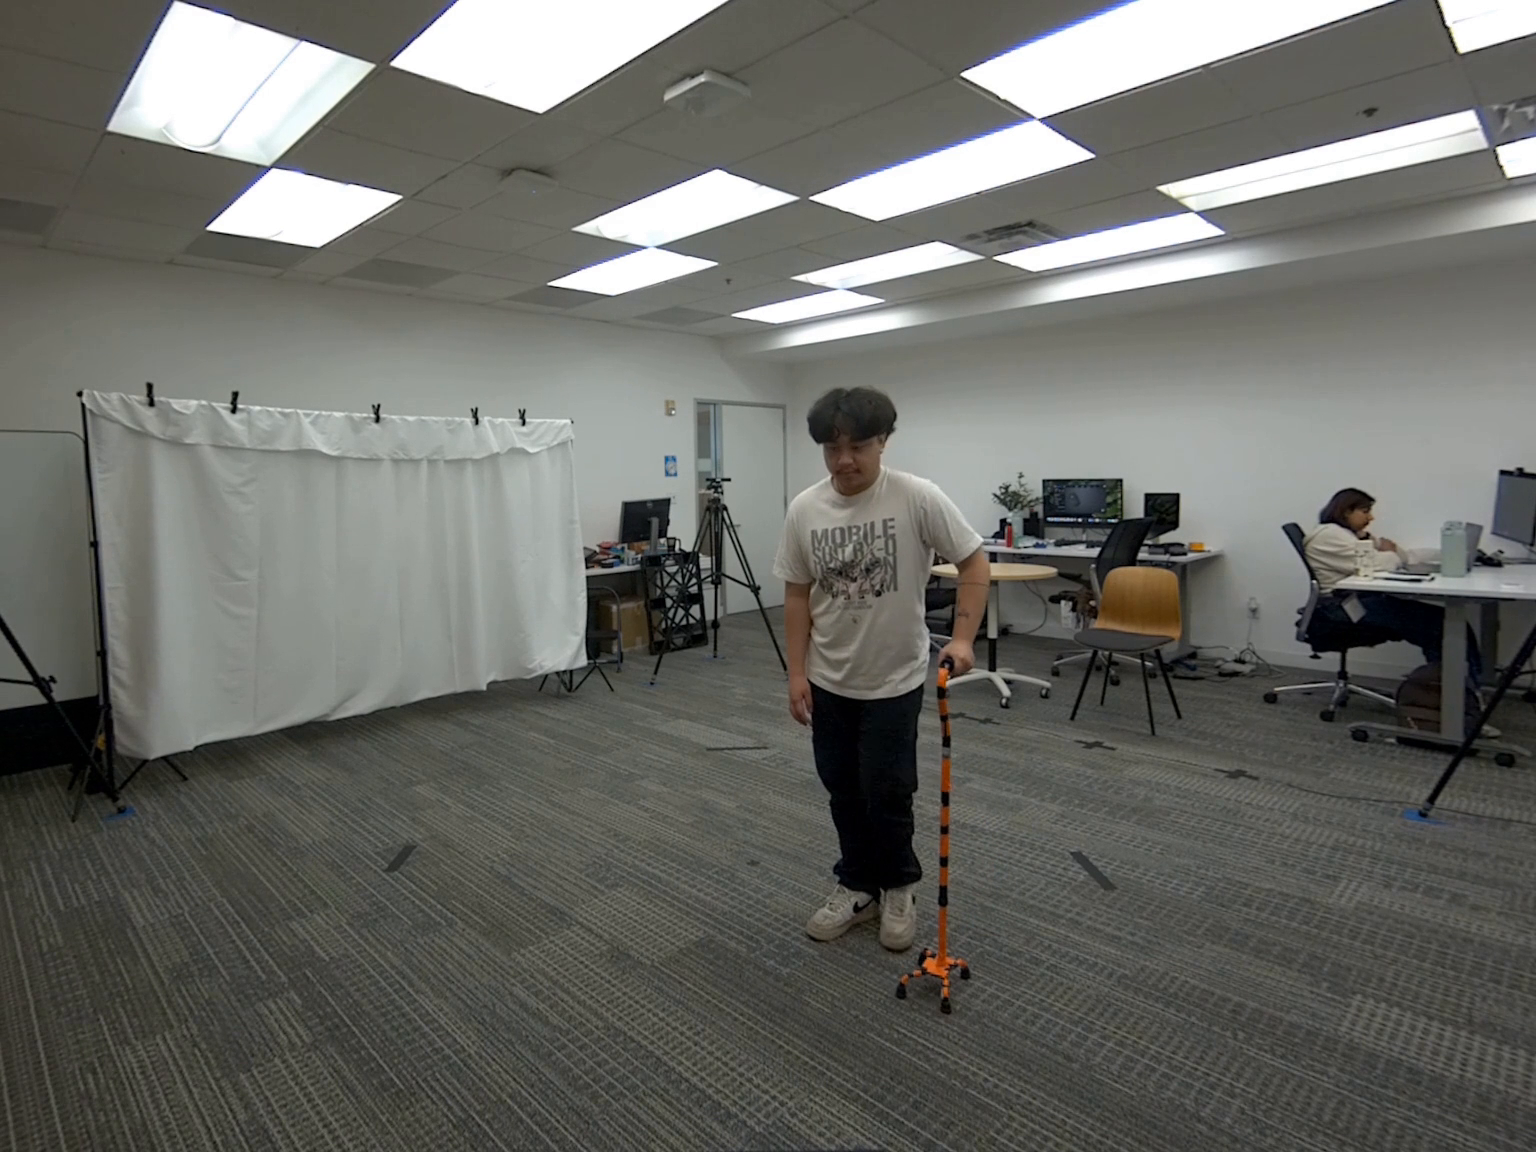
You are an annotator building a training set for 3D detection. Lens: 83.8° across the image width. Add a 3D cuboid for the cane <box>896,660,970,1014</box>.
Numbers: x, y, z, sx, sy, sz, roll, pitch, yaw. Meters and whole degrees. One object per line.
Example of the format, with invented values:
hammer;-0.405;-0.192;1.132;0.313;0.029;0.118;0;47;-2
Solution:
cane;0.456;0.679;2.299;0.155;0.904;0.202;2;5;29
